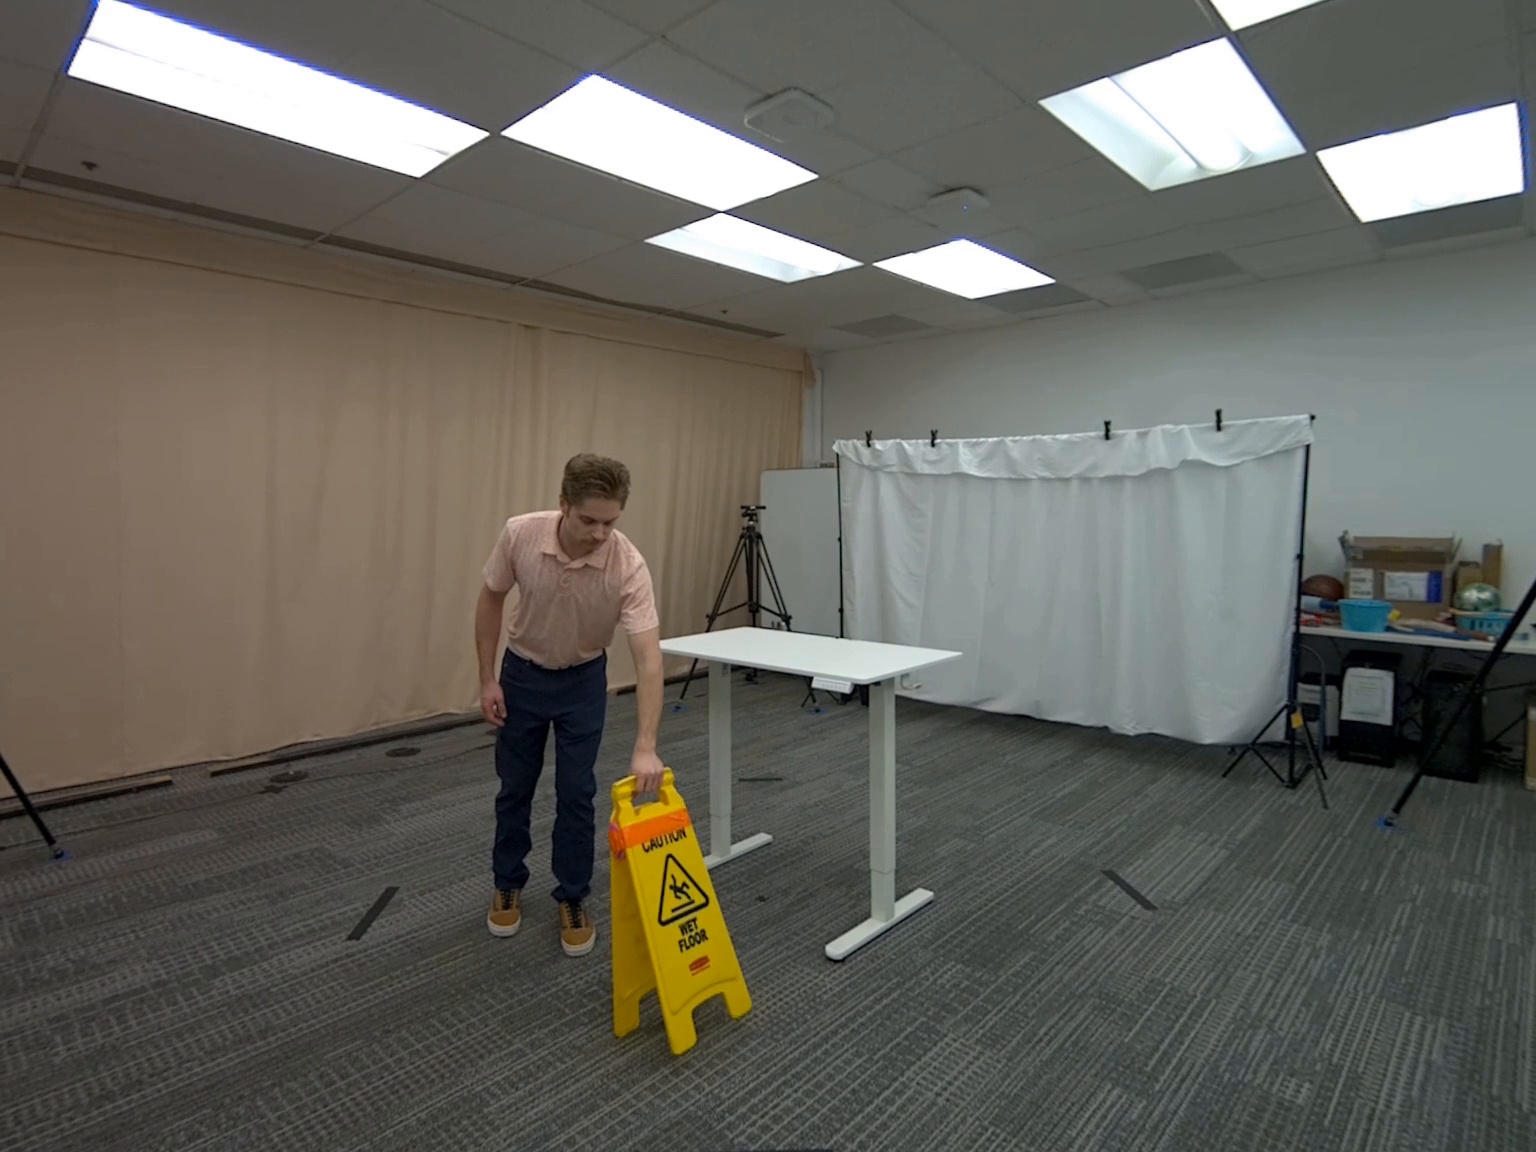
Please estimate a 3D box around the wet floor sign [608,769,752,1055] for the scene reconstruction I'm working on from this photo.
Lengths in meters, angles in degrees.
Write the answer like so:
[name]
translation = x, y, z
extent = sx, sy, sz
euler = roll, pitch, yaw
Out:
[wet floor sign]
translation = -0.287, 0.869, 2.252
extent = 0.297, 0.650, 0.273
euler = -17, -9, 43
